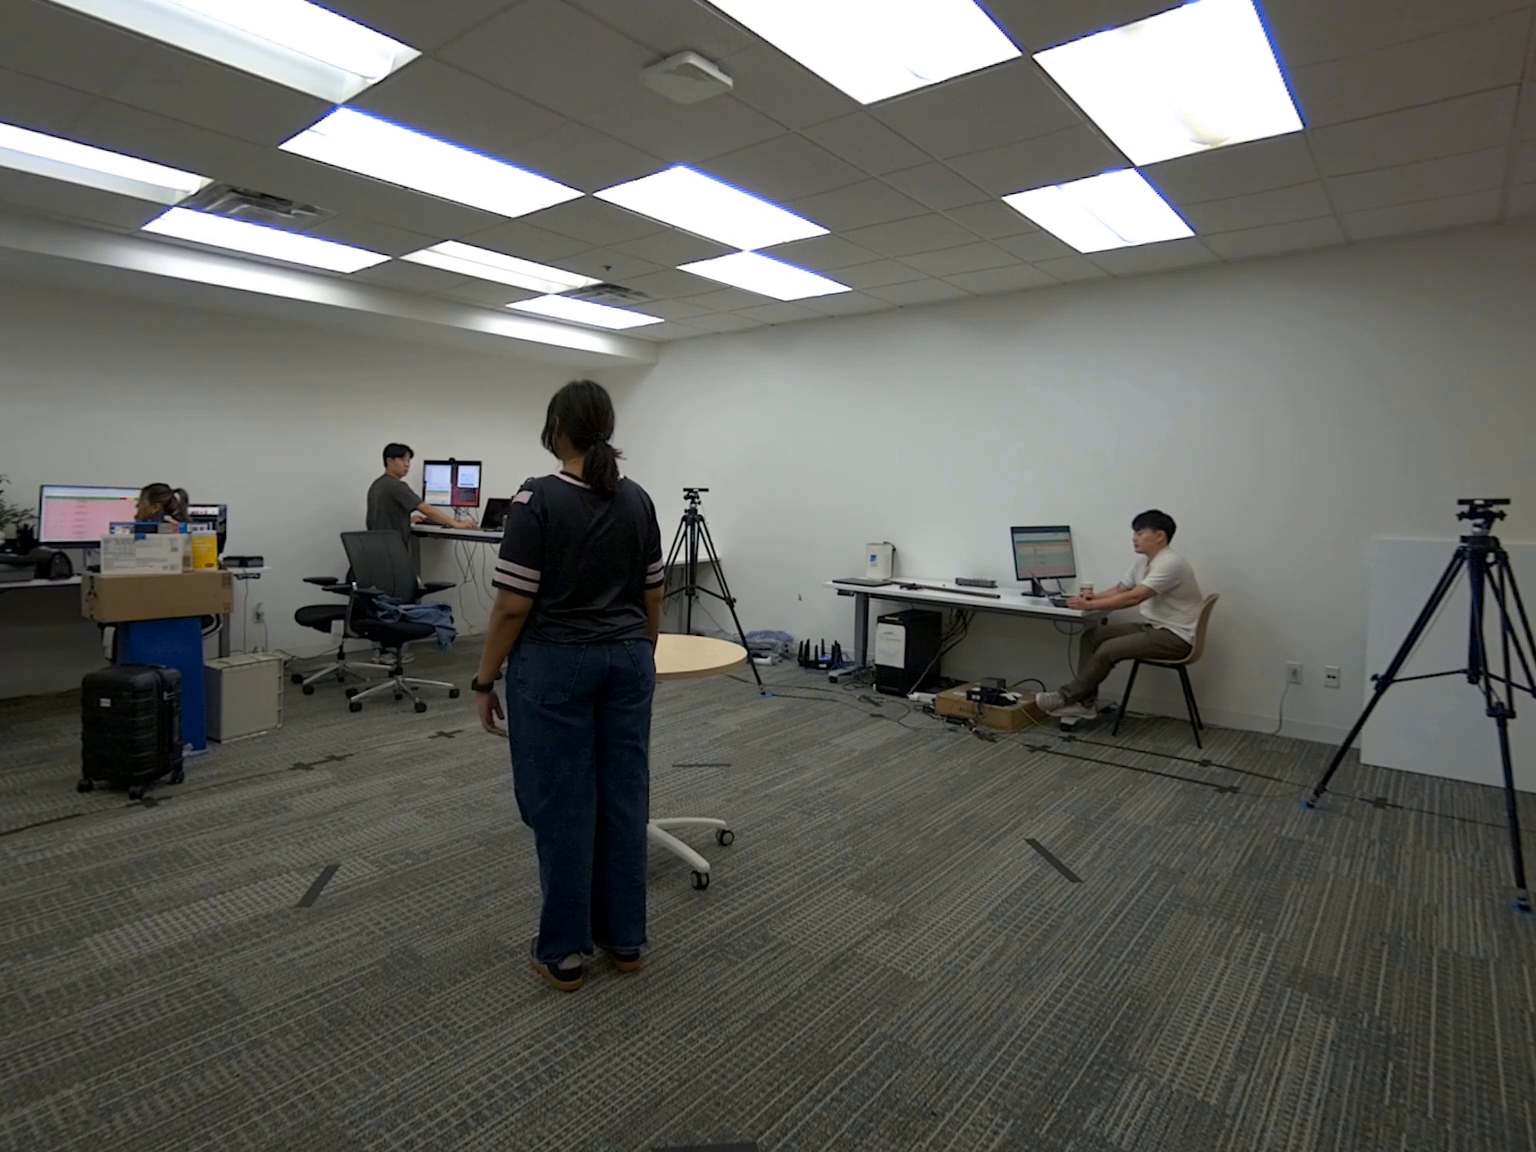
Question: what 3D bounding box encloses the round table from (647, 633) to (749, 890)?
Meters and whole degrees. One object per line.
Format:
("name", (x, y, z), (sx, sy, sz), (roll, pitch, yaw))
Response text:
("round table", (-0.467, 0.671, 3.165), (0.763, 0.792, 0.767), (0, 4, -2))
